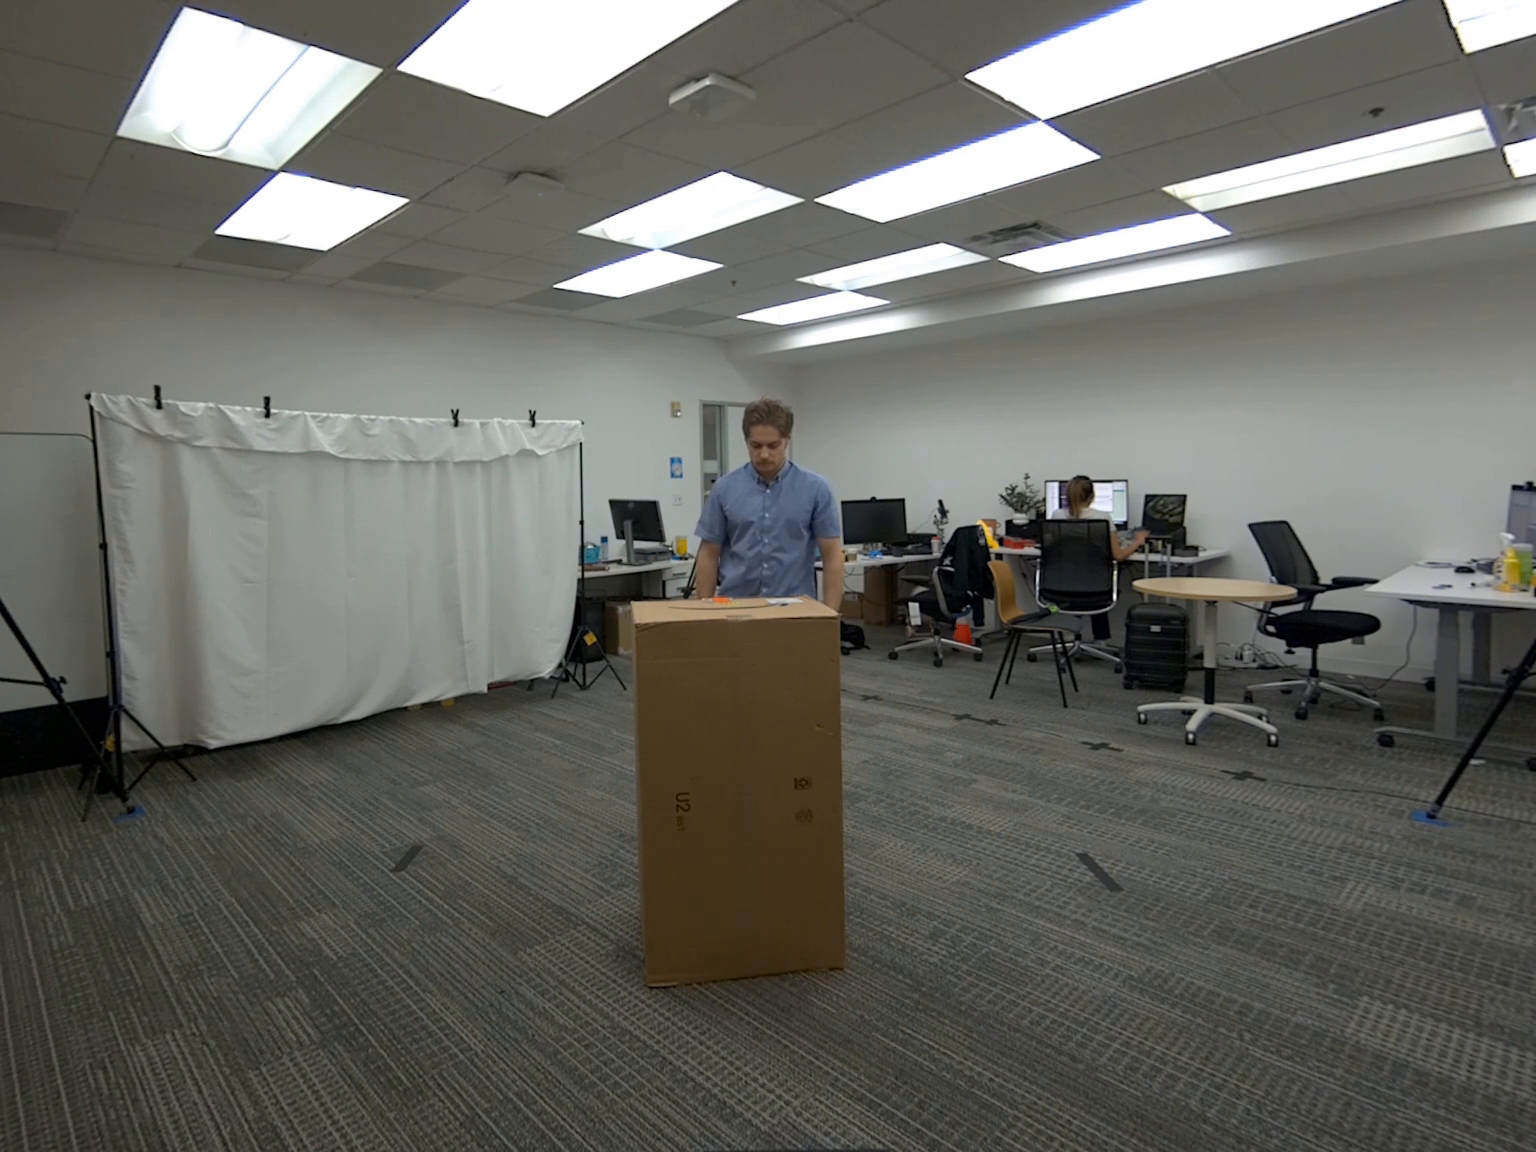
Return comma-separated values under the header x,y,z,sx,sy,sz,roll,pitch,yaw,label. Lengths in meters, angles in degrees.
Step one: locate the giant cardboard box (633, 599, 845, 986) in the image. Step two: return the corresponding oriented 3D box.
x,y,z,sx,sy,sz,roll,pitch,yaw,label
-0.117,0.602,2.571,0.581,1.024,0.451,-1,3,-6,giant cardboard box
